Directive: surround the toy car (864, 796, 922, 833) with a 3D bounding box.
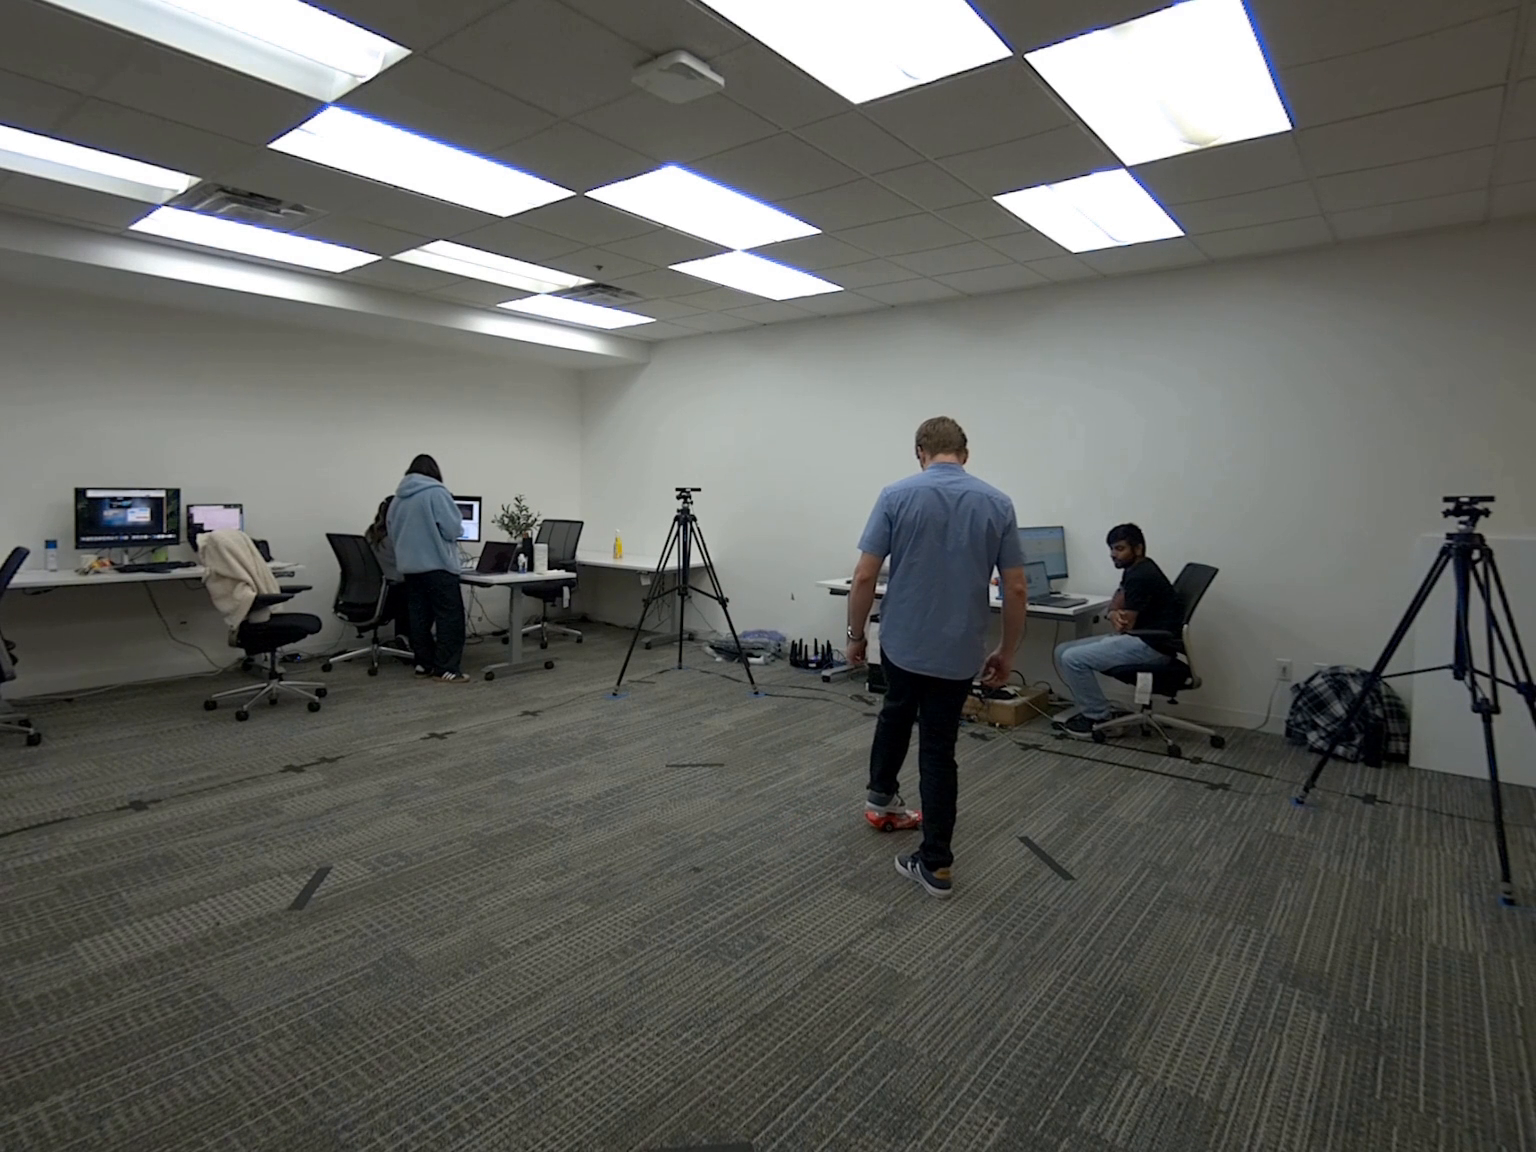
[{"bbox_3d":[0.517,1.010,3.548,0.250,0.083,0.133,11,3,-14],"label":"toy car"}]
